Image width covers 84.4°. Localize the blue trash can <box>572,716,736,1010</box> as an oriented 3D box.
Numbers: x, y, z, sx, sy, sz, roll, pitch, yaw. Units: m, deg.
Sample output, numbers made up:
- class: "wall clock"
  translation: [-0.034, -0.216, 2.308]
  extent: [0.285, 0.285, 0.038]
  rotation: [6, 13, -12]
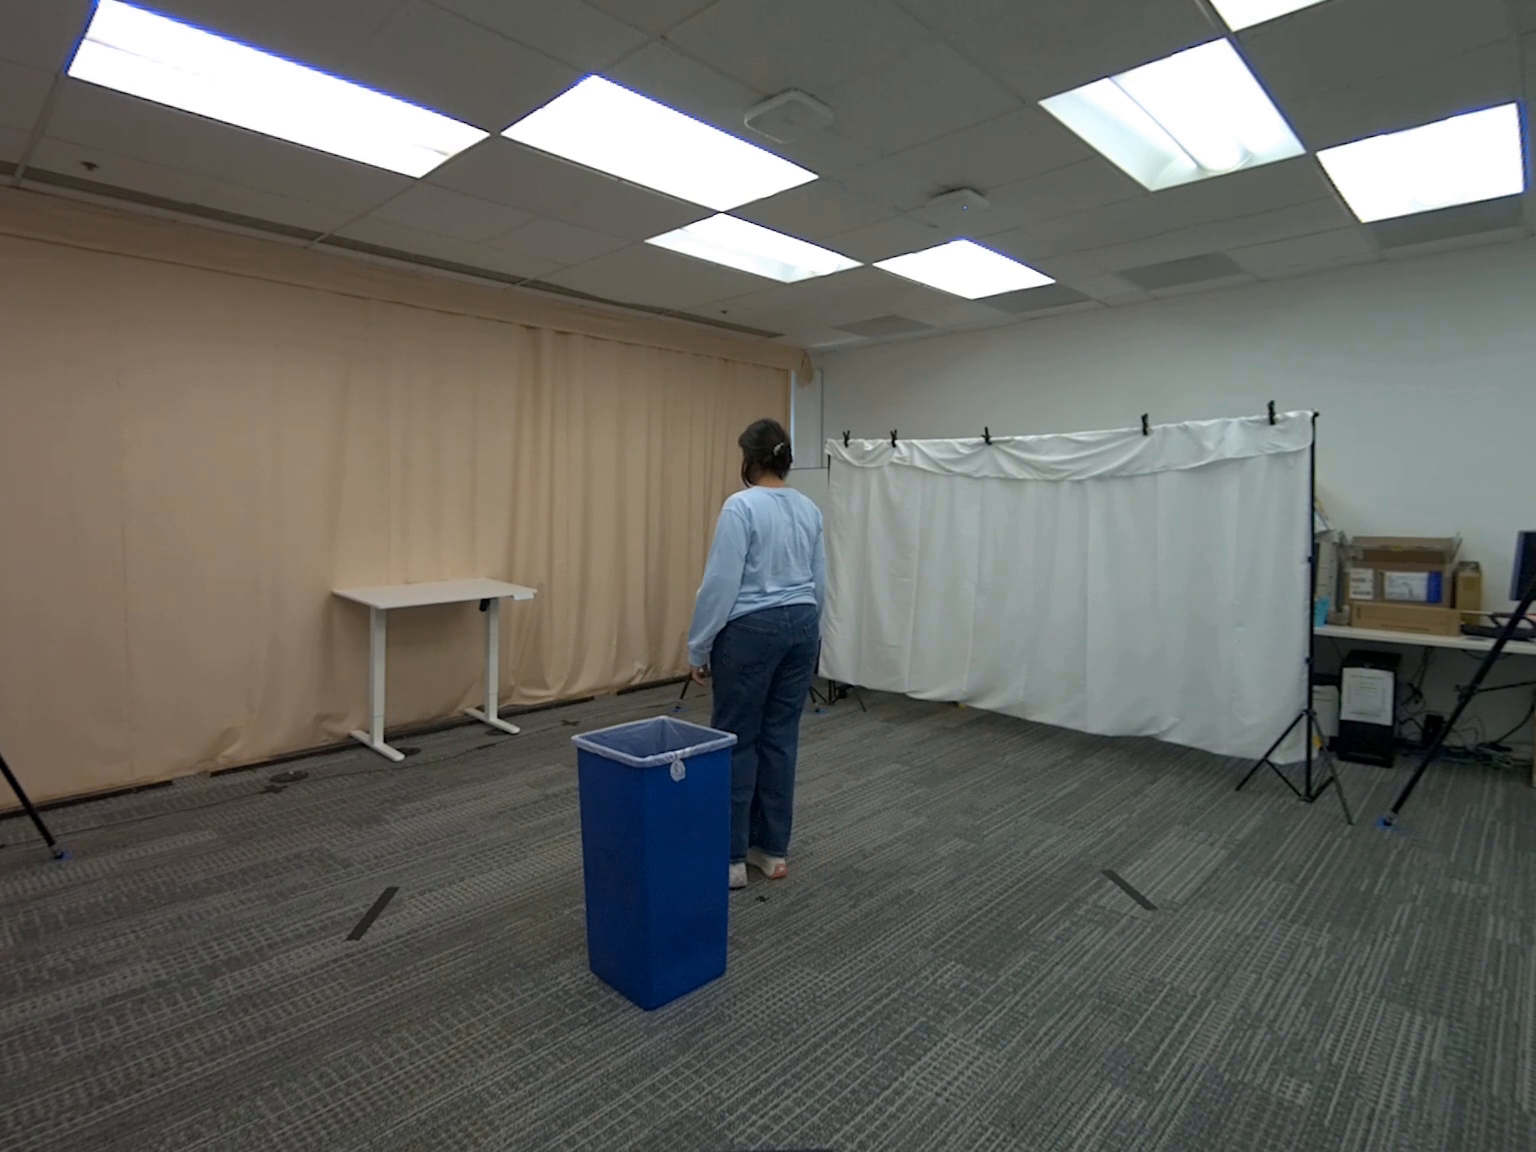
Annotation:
- class: "blue trash can"
  translation: [-0.342, 0.829, 2.510]
  extent: [0.366, 0.712, 0.386]
  rotation: [-2, 3, -44]
